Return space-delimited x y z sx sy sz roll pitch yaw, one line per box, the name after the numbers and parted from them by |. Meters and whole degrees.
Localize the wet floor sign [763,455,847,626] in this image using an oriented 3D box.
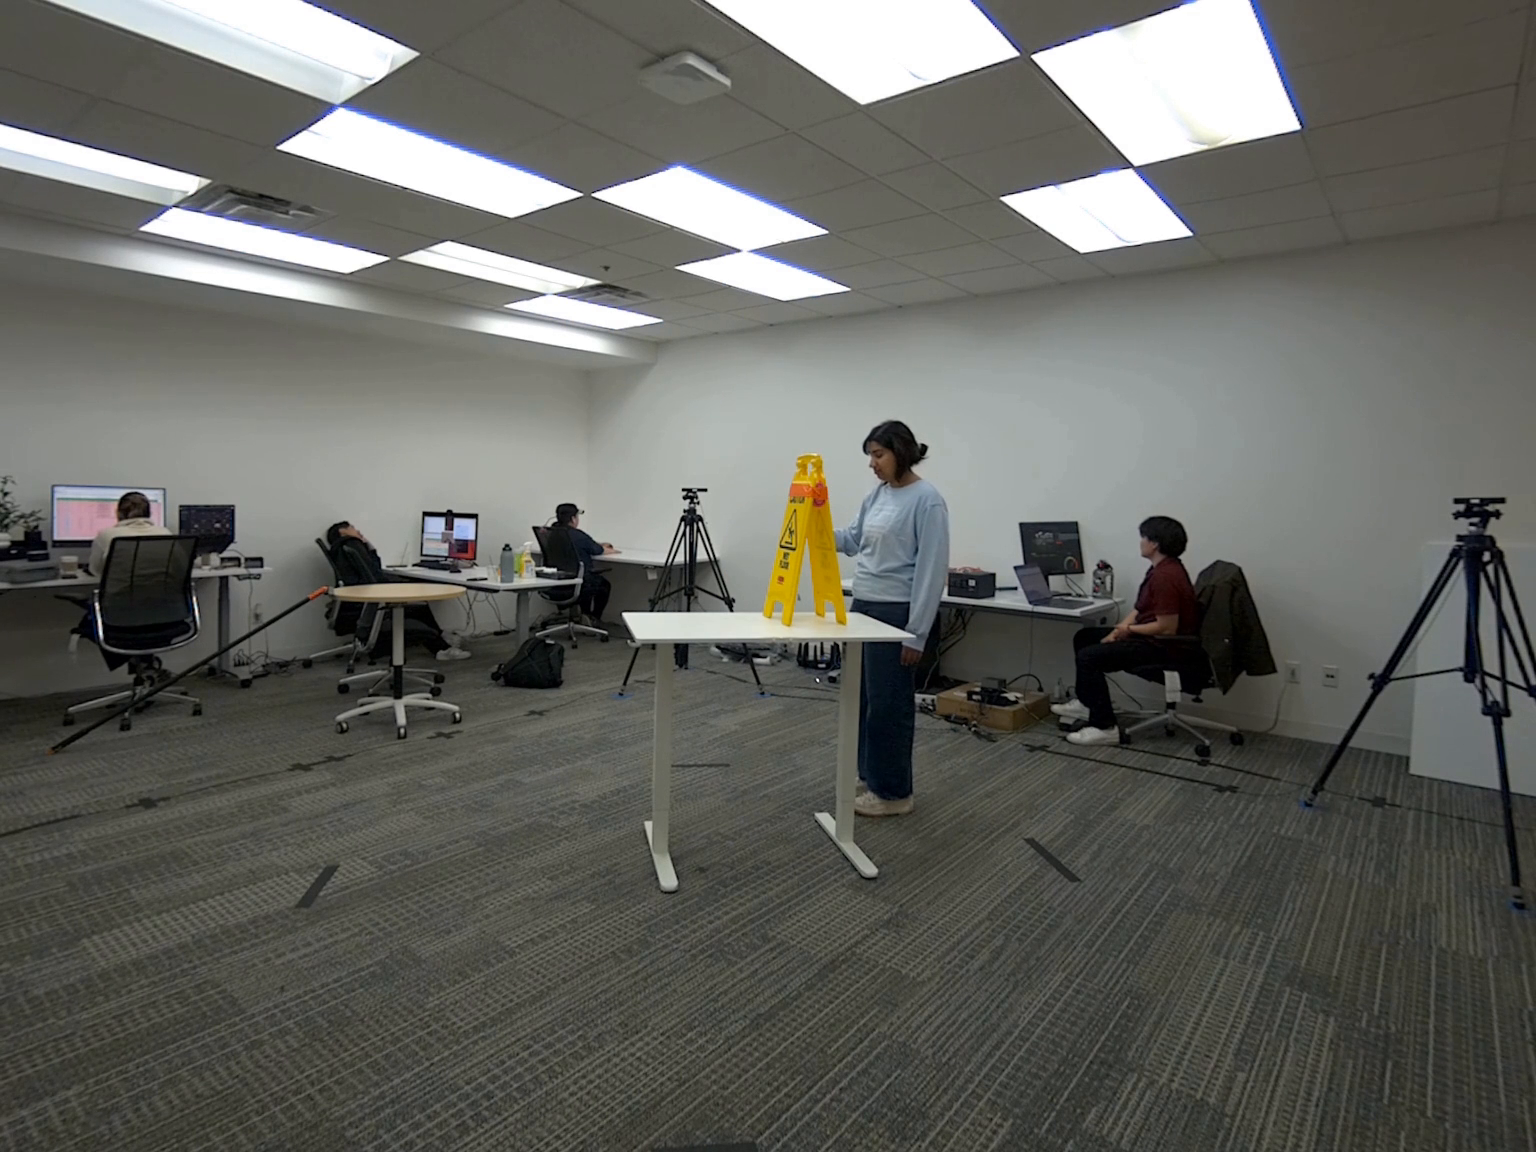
0.141 -0.152 3.337 0.285 0.644 0.288 0 3 -18 | wet floor sign
